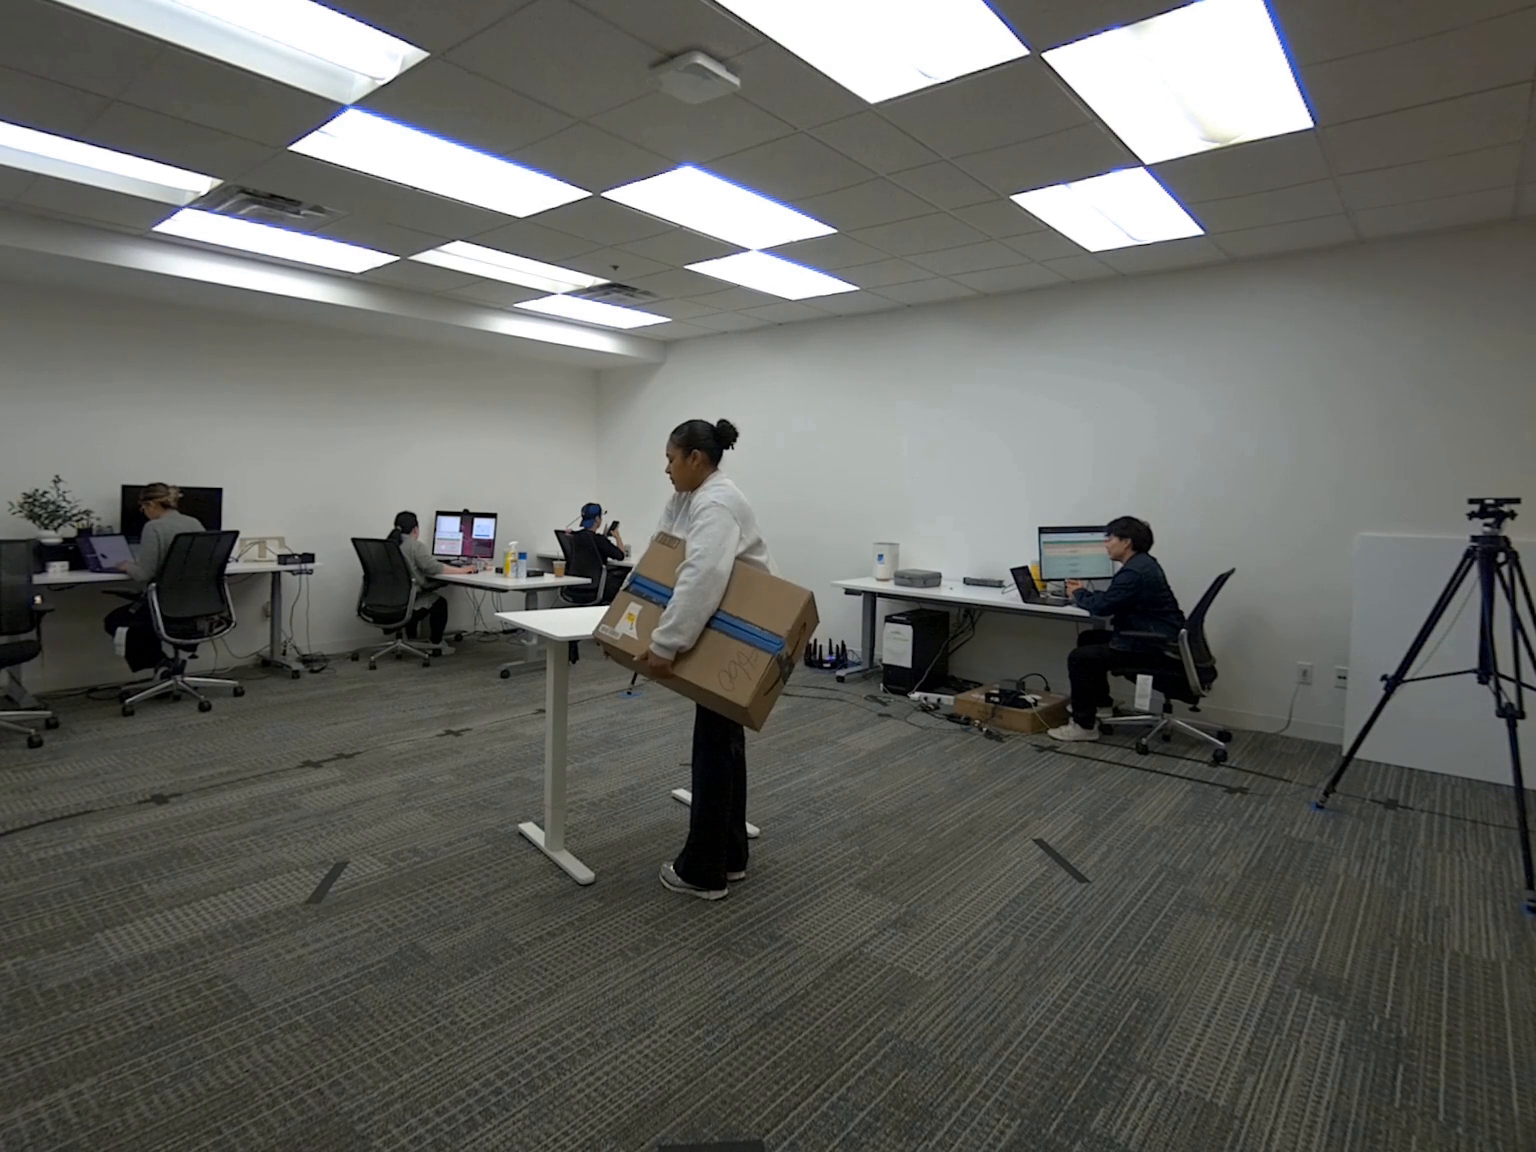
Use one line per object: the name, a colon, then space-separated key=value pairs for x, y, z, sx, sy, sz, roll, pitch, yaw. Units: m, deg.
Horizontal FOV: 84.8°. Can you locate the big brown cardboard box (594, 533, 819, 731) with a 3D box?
big brown cardboard box: x=-0.207 y=0.159 z=2.698 sx=0.605 sy=0.420 sz=0.225 roll=21 pitch=-24 yaw=21
